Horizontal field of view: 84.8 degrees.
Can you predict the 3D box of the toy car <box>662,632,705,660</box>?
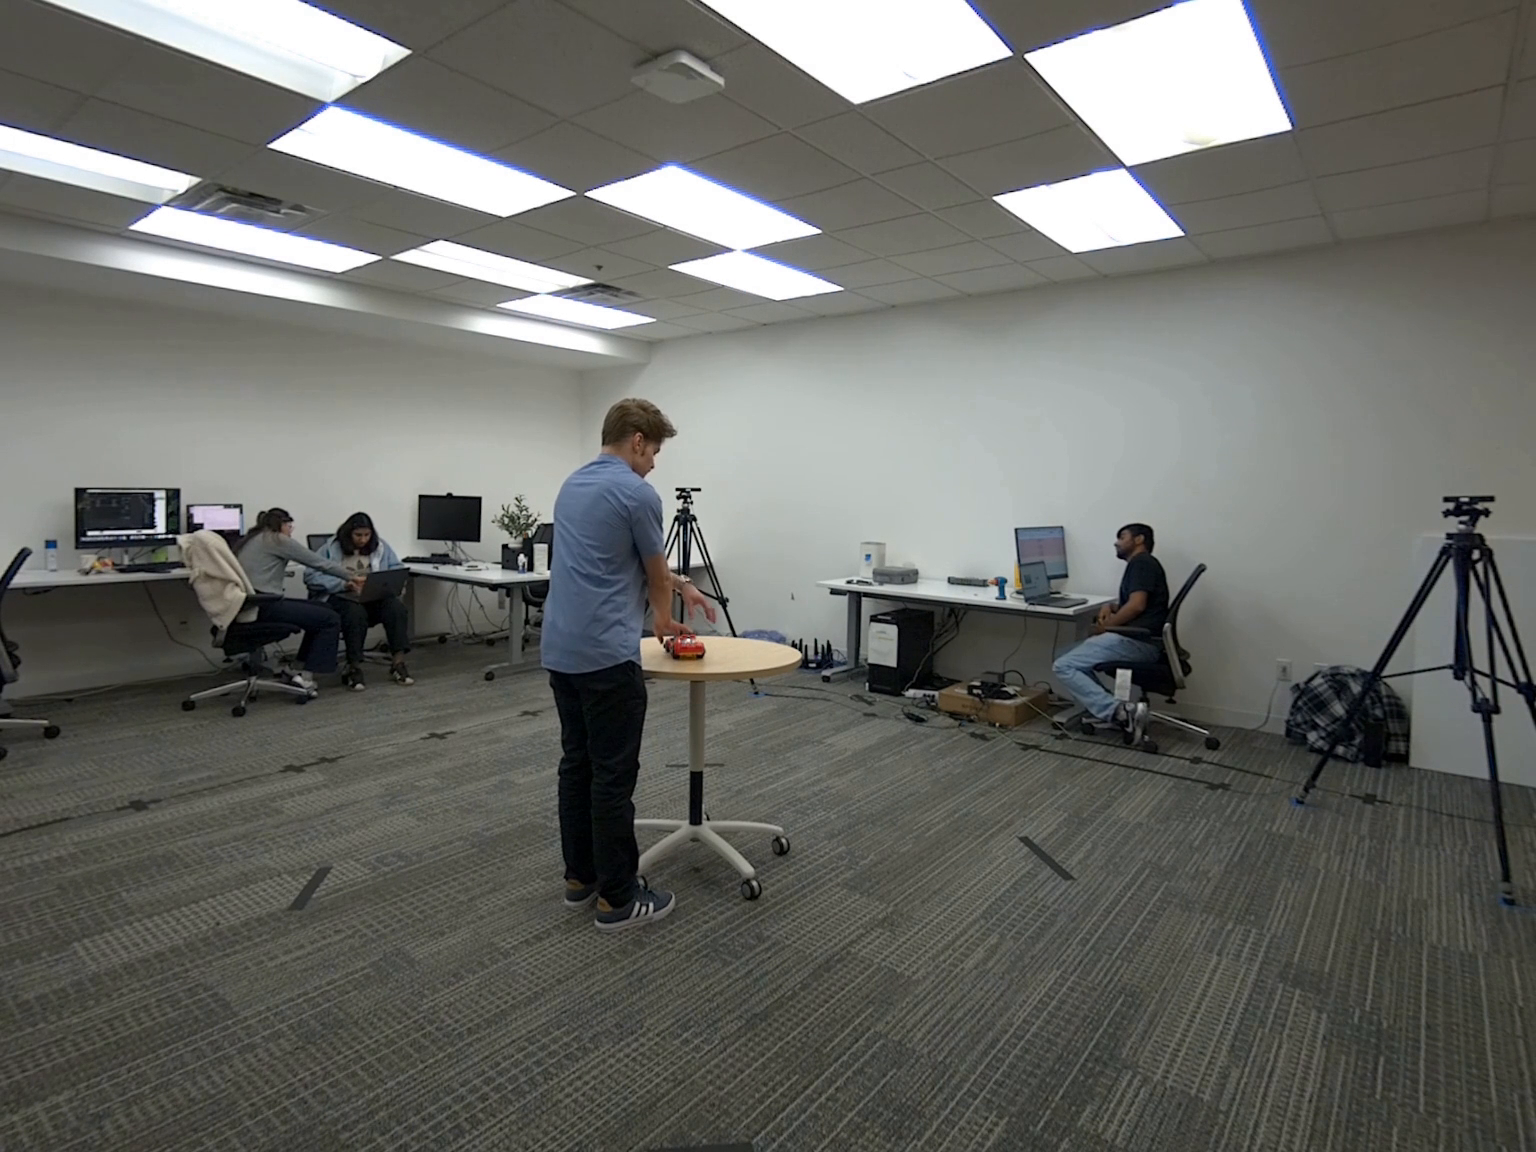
[{"bbox_3d":[-0.303,0.254,3.081,0.128,0.084,0.257,-2,-6,-18],"label":"toy car"}]
